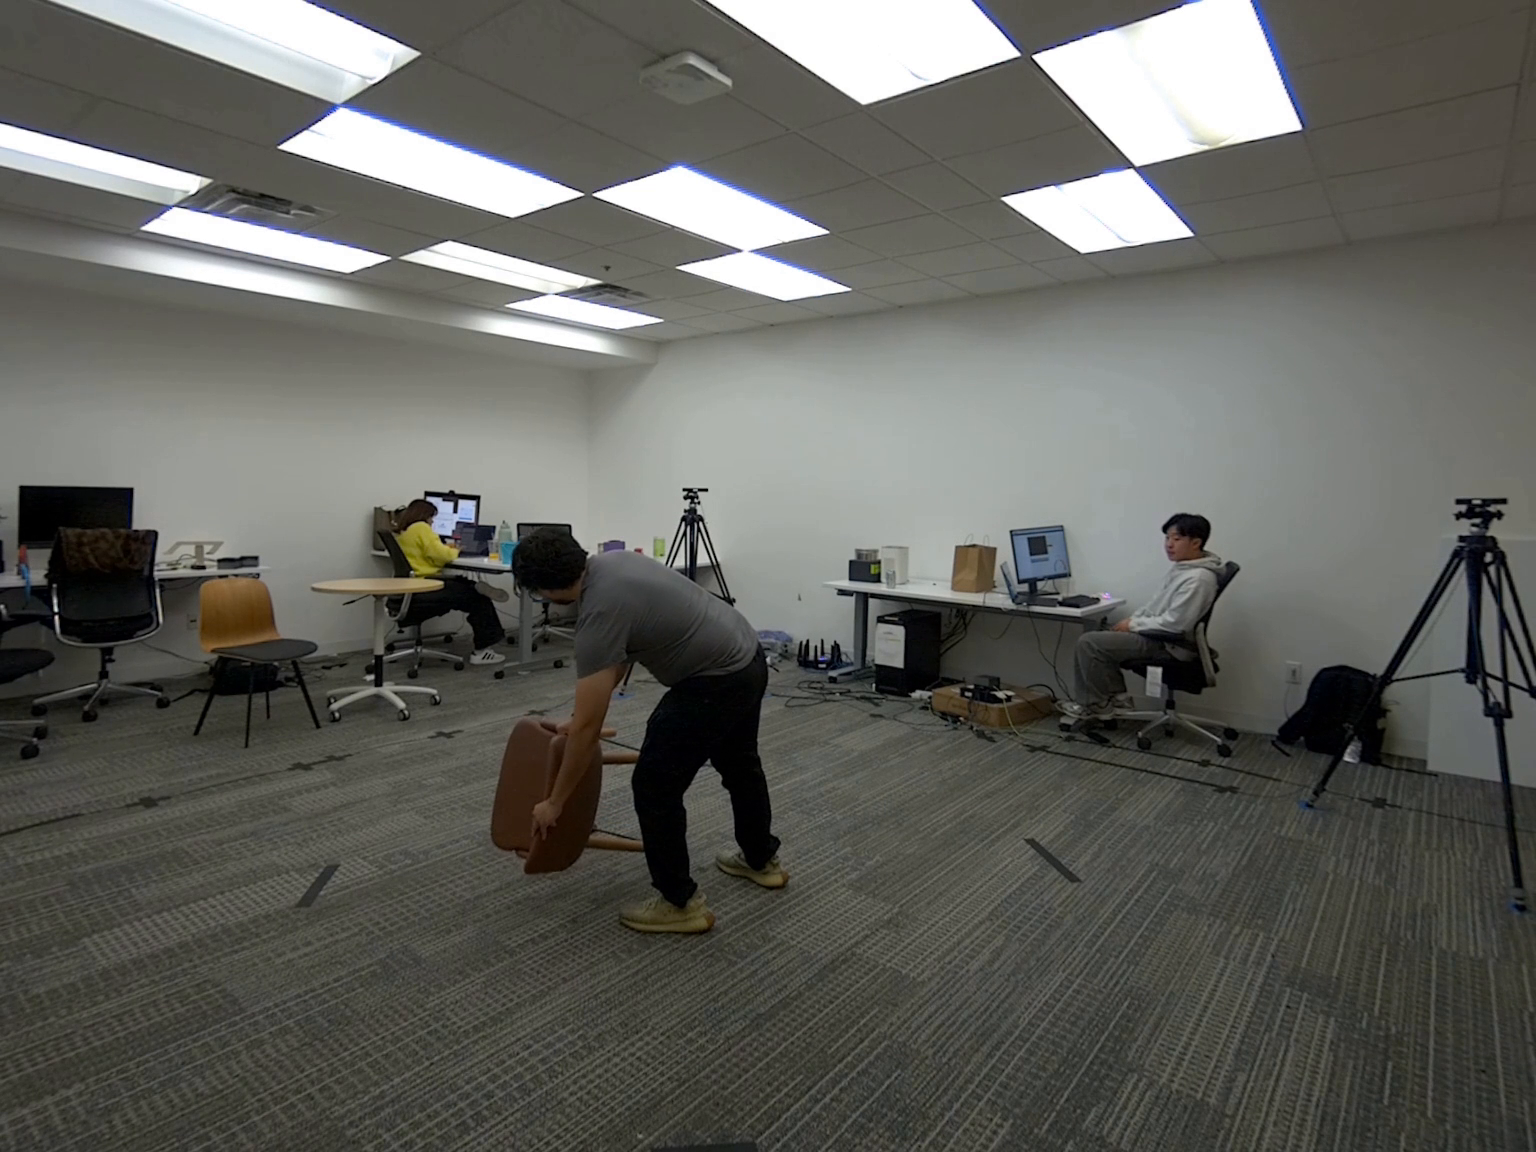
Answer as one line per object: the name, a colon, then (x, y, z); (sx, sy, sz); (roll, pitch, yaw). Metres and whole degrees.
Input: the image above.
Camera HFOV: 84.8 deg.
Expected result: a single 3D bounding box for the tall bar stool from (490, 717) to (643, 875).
tall bar stool: (-0.688, 0.762, 3.010); (0.481, 0.460, 0.858); (6, -10, 28)
